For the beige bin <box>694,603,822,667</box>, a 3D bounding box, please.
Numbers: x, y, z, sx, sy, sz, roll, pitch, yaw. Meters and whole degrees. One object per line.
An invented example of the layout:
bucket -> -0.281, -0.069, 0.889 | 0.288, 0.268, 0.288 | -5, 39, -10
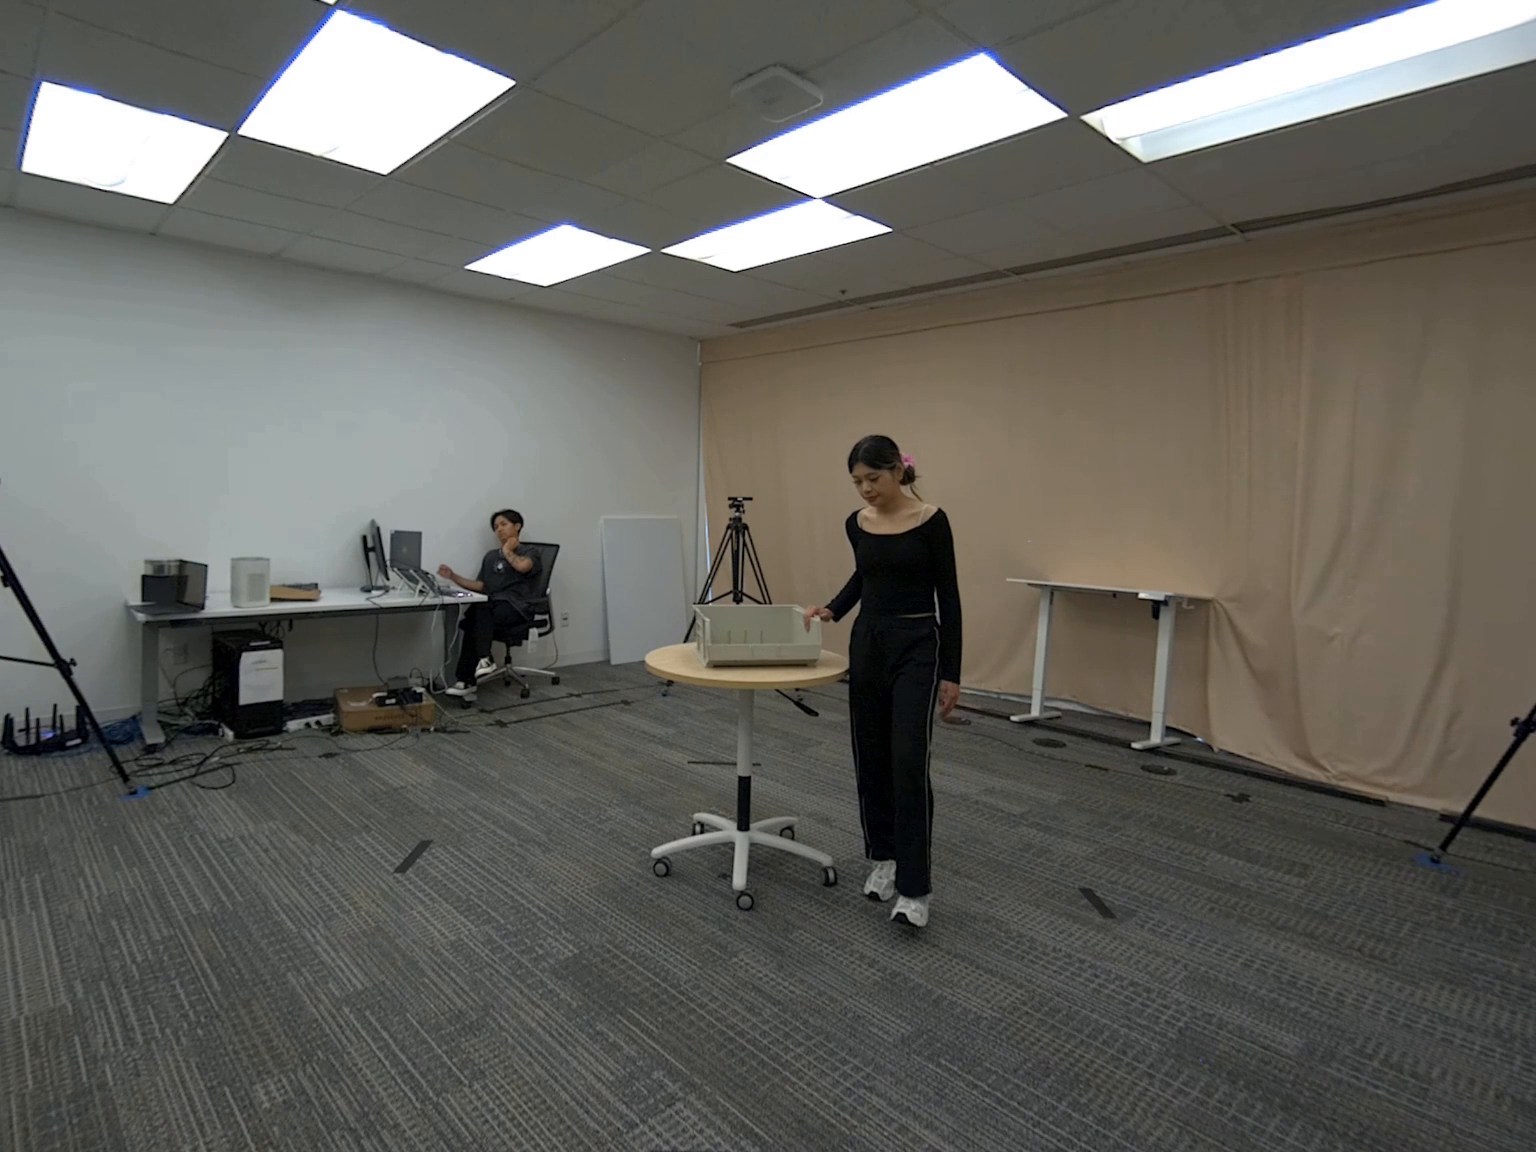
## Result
beige bin -> -0.058, 0.222, 3.142 | 0.419, 0.188, 0.381 | 0, 4, -10
